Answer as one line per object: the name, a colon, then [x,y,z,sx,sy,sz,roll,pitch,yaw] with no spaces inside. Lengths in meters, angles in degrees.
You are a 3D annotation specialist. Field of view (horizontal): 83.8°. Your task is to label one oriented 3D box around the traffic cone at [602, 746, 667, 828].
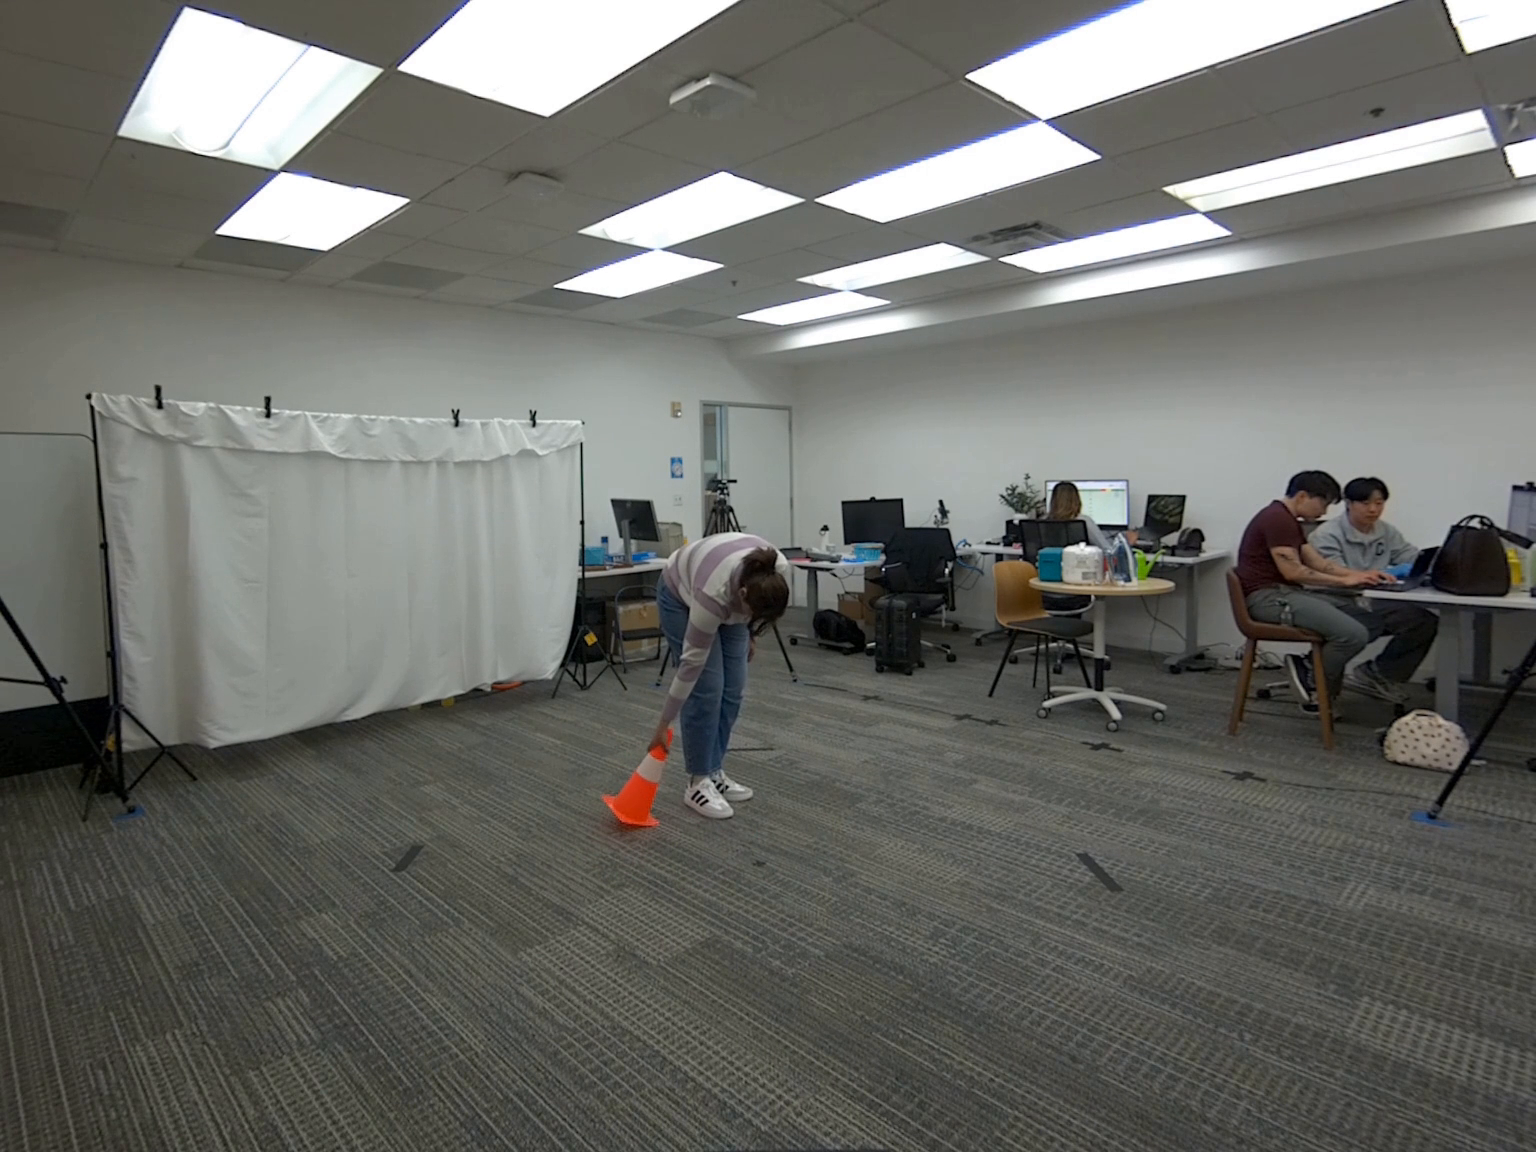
traffic cone: [-0.486,0.798,3.500,0.196,0.383,0.213,24,4,-40]
